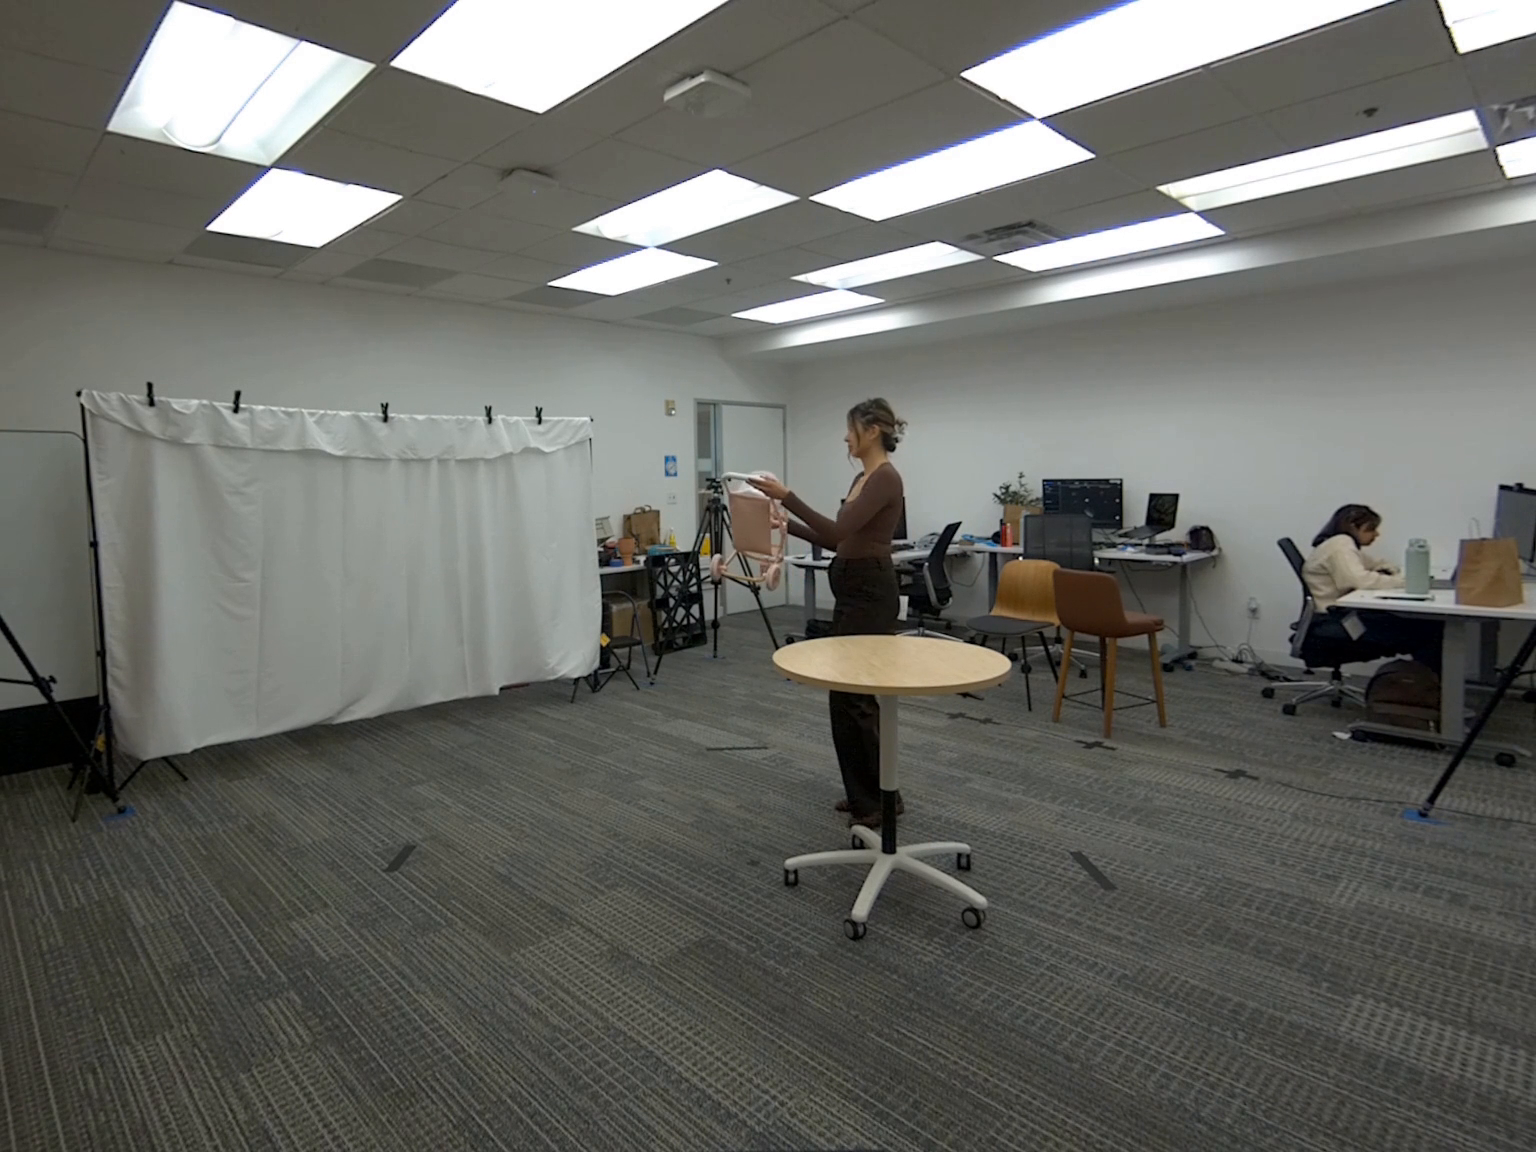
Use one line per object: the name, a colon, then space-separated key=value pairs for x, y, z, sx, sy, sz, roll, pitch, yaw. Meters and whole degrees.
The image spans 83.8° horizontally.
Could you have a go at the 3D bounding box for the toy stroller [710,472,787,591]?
toy stroller: x=-0.041 y=-0.194 z=3.524 sx=0.289 sy=0.526 sz=0.338 roll=10 pitch=22 yaw=24
